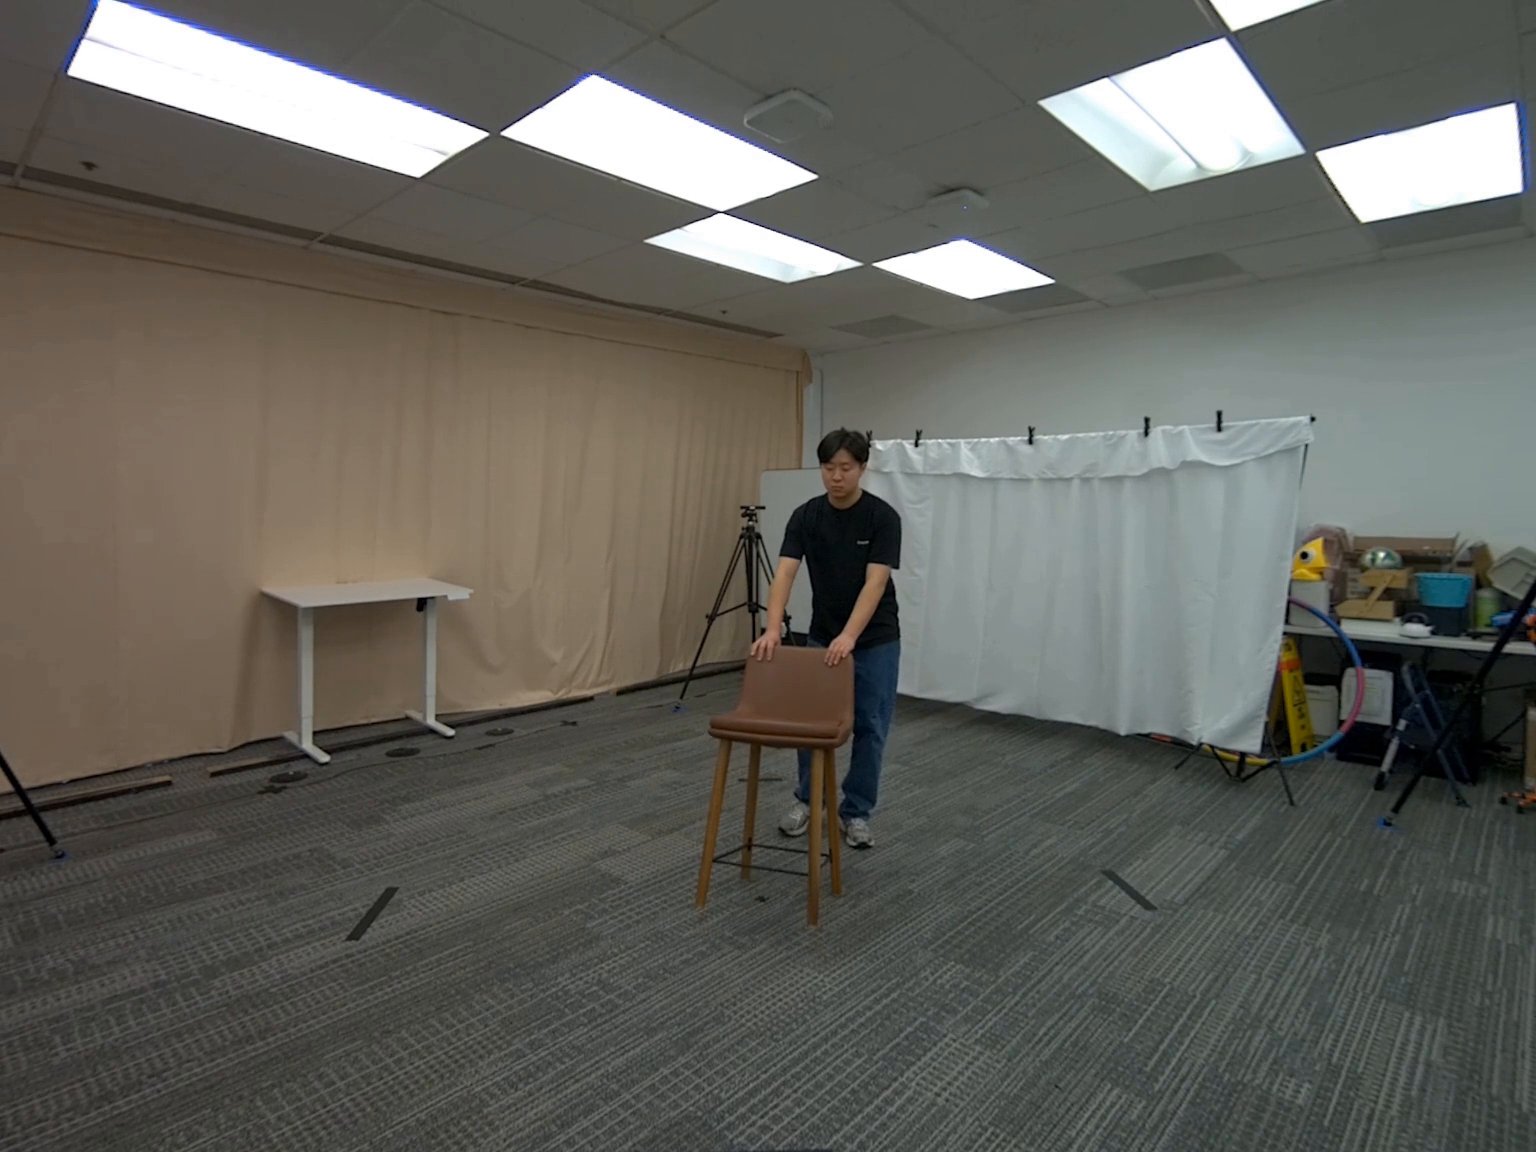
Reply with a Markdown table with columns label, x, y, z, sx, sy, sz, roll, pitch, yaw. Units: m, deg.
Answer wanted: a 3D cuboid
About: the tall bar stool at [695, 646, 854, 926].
| label | x | y | z | sx | sy | sz | roll | pitch | yaw |
| --- | --- | --- | --- | --- | --- | --- | --- | --- | --- |
| tall bar stool | 0.050 | 0.681 | 2.941 | 0.466 | 0.894 | 0.455 | 1 | -10 | 20 |
